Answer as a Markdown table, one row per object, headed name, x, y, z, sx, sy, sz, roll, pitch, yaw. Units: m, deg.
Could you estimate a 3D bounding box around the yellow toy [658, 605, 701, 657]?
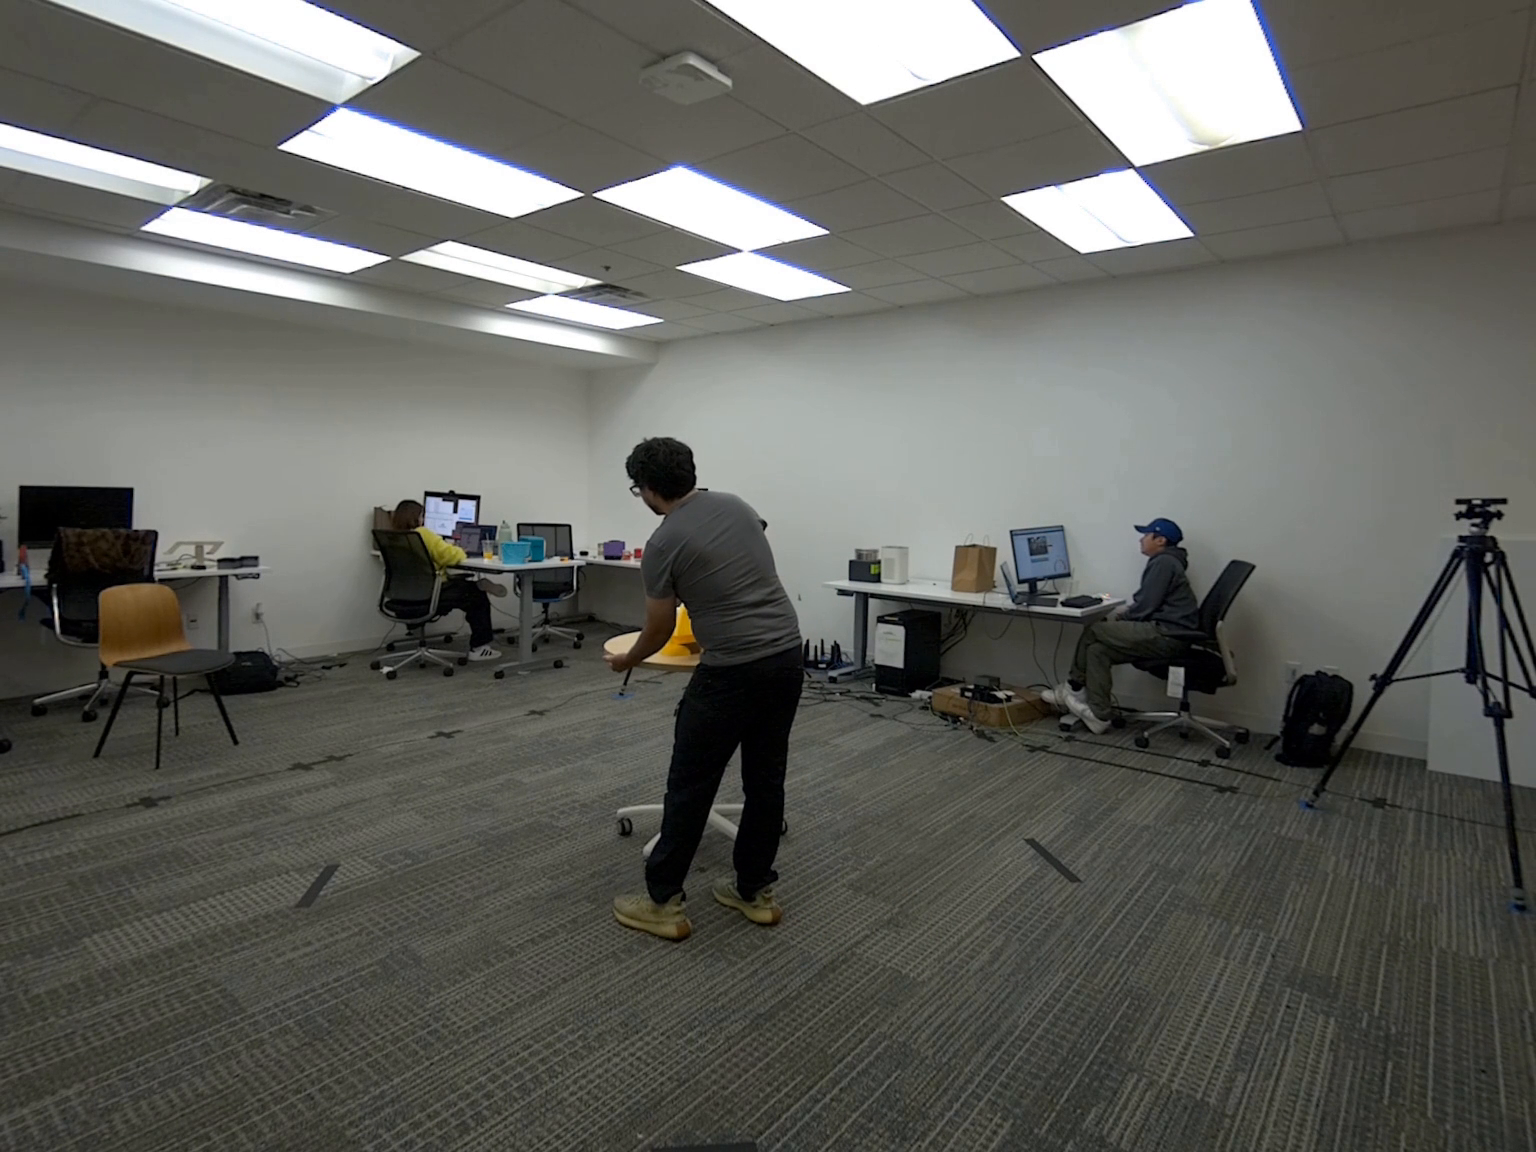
| name | x | y | z | sx | sy | sz | roll | pitch | yaw |
| --- | --- | --- | --- | --- | --- | --- | --- | --- | --- |
| yellow toy | -0.328 | 0.168 | 3.183 | 0.198 | 0.230 | 0.199 | -2 | 4 | -41 |
